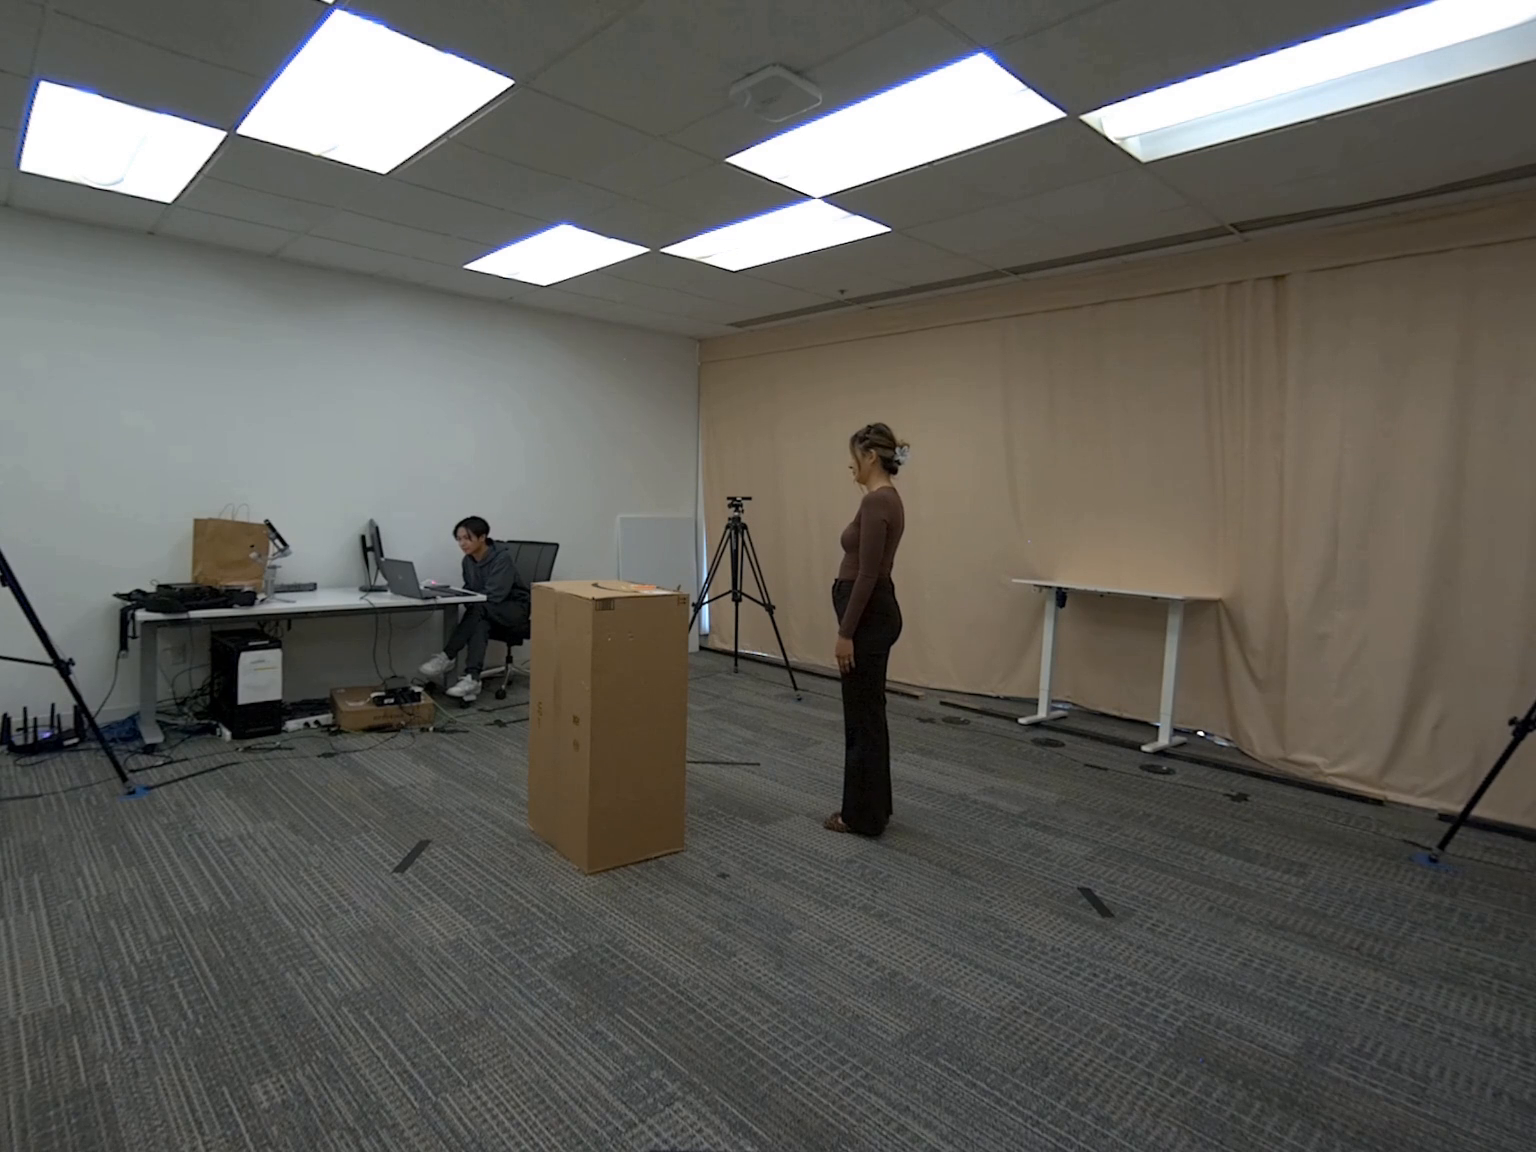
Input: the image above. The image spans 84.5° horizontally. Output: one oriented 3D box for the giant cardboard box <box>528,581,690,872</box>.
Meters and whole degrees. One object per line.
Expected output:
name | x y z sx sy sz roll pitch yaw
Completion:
giant cardboard box | -0.663 0.558 3.403 0.437 1.025 0.598 0 3 -36
